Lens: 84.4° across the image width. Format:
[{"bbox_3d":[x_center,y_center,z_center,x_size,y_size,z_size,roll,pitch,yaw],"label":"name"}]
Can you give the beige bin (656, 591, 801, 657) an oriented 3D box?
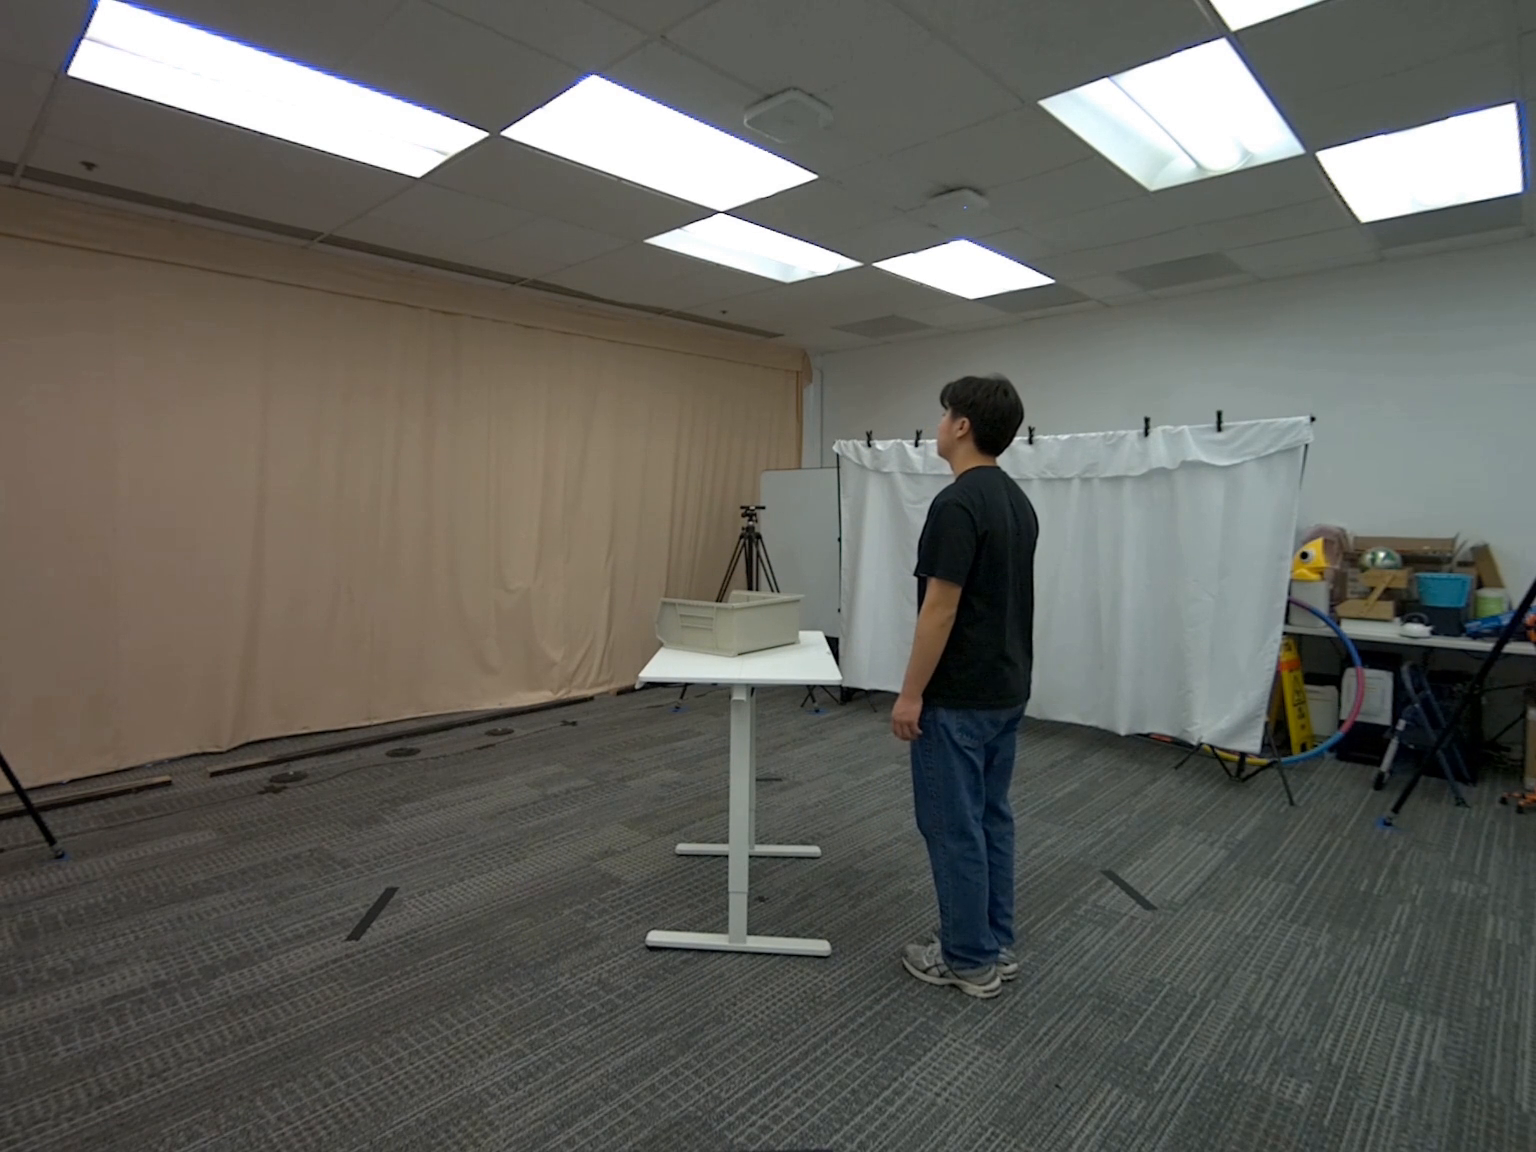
[{"bbox_3d":[-0.139,0.167,3.088,0.390,0.188,0.410,5,6,38],"label":"beige bin"}]
